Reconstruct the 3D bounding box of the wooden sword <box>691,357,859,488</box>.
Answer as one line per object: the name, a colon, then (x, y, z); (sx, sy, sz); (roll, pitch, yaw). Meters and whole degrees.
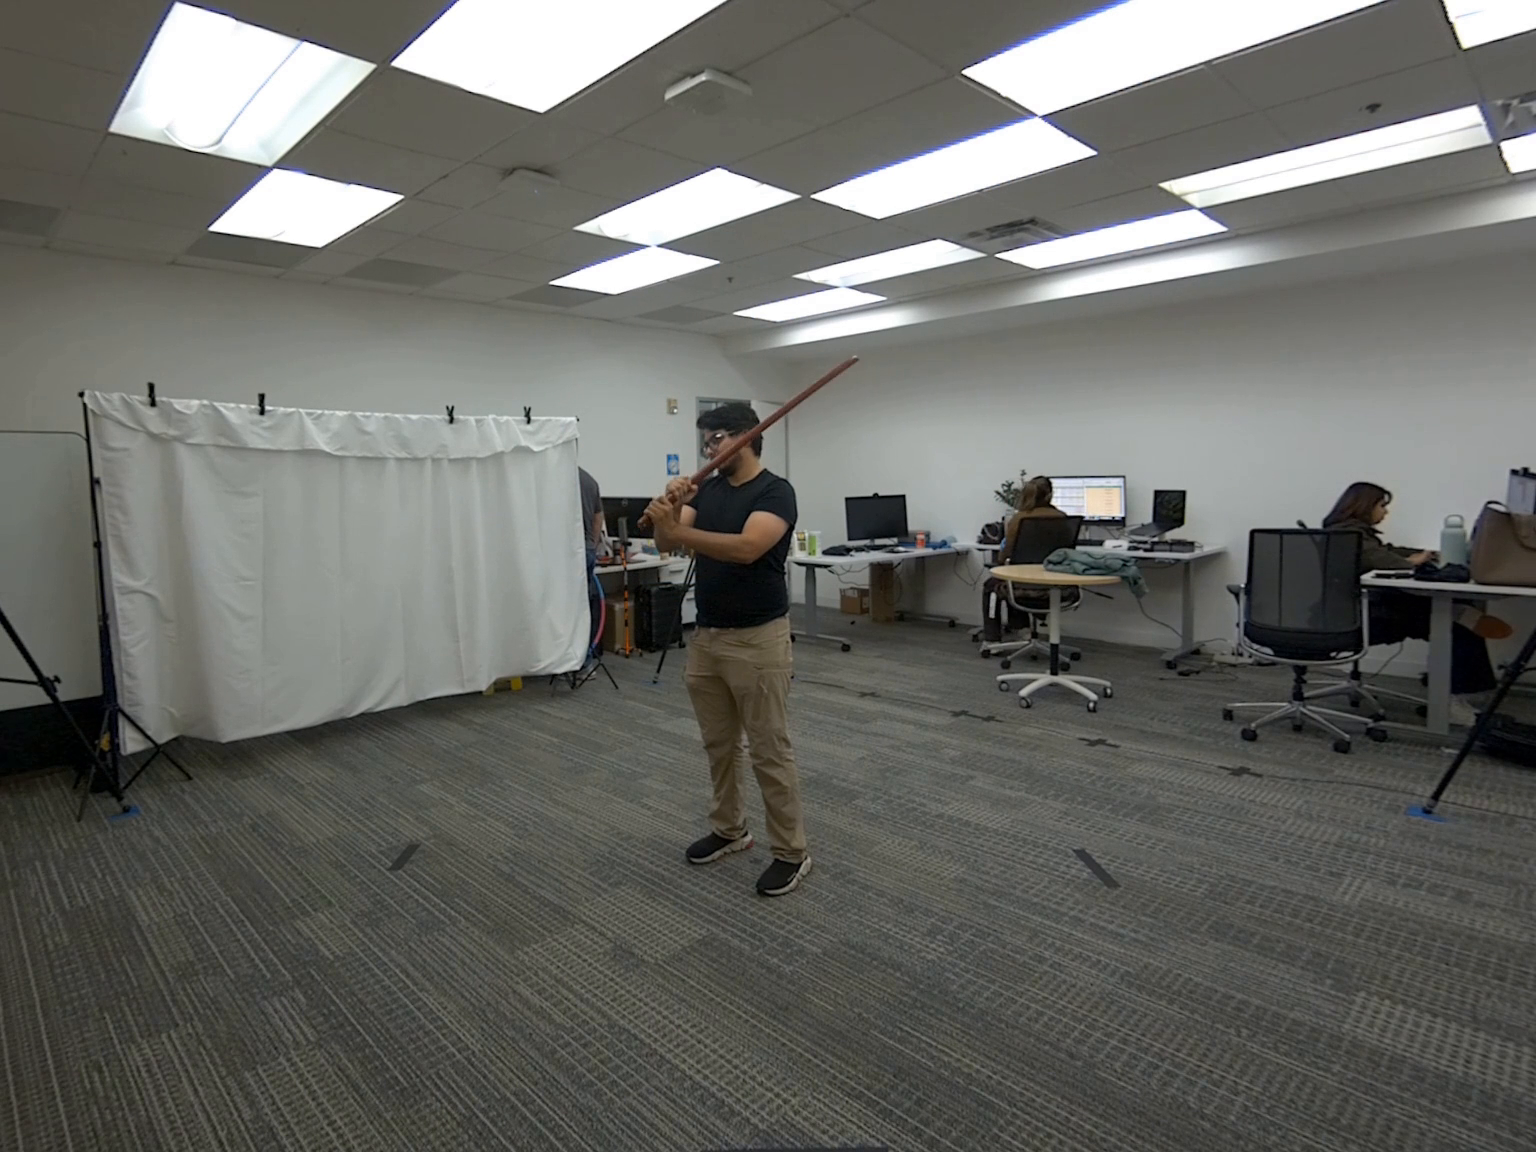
wooden sword: (-0.039, -0.459, 2.826); (1.022, 0.050, 0.025); (-43, 22, -21)
